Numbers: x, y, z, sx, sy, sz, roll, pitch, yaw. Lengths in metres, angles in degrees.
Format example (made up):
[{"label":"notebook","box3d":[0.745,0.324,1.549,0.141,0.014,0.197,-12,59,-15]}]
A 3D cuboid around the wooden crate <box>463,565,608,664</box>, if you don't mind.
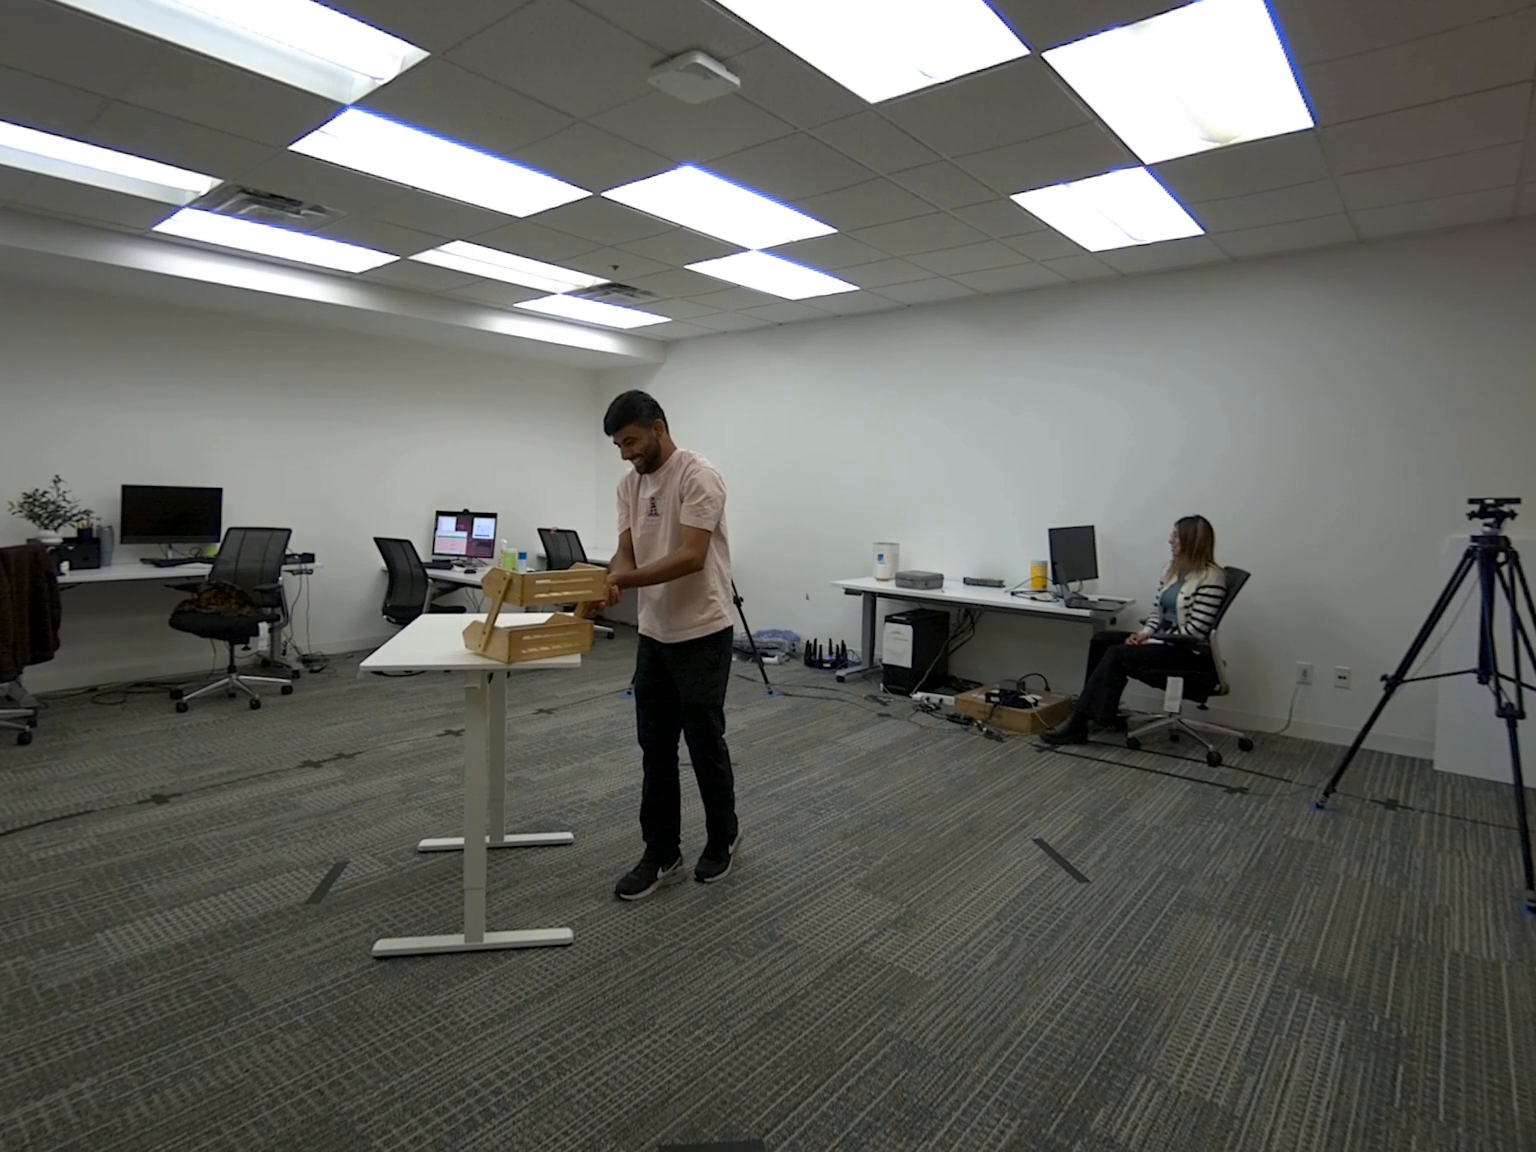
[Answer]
[{"label":"wooden crate","box3d":[-0.712,0.089,2.549,0.312,0.272,0.315,9,8,36]}]
